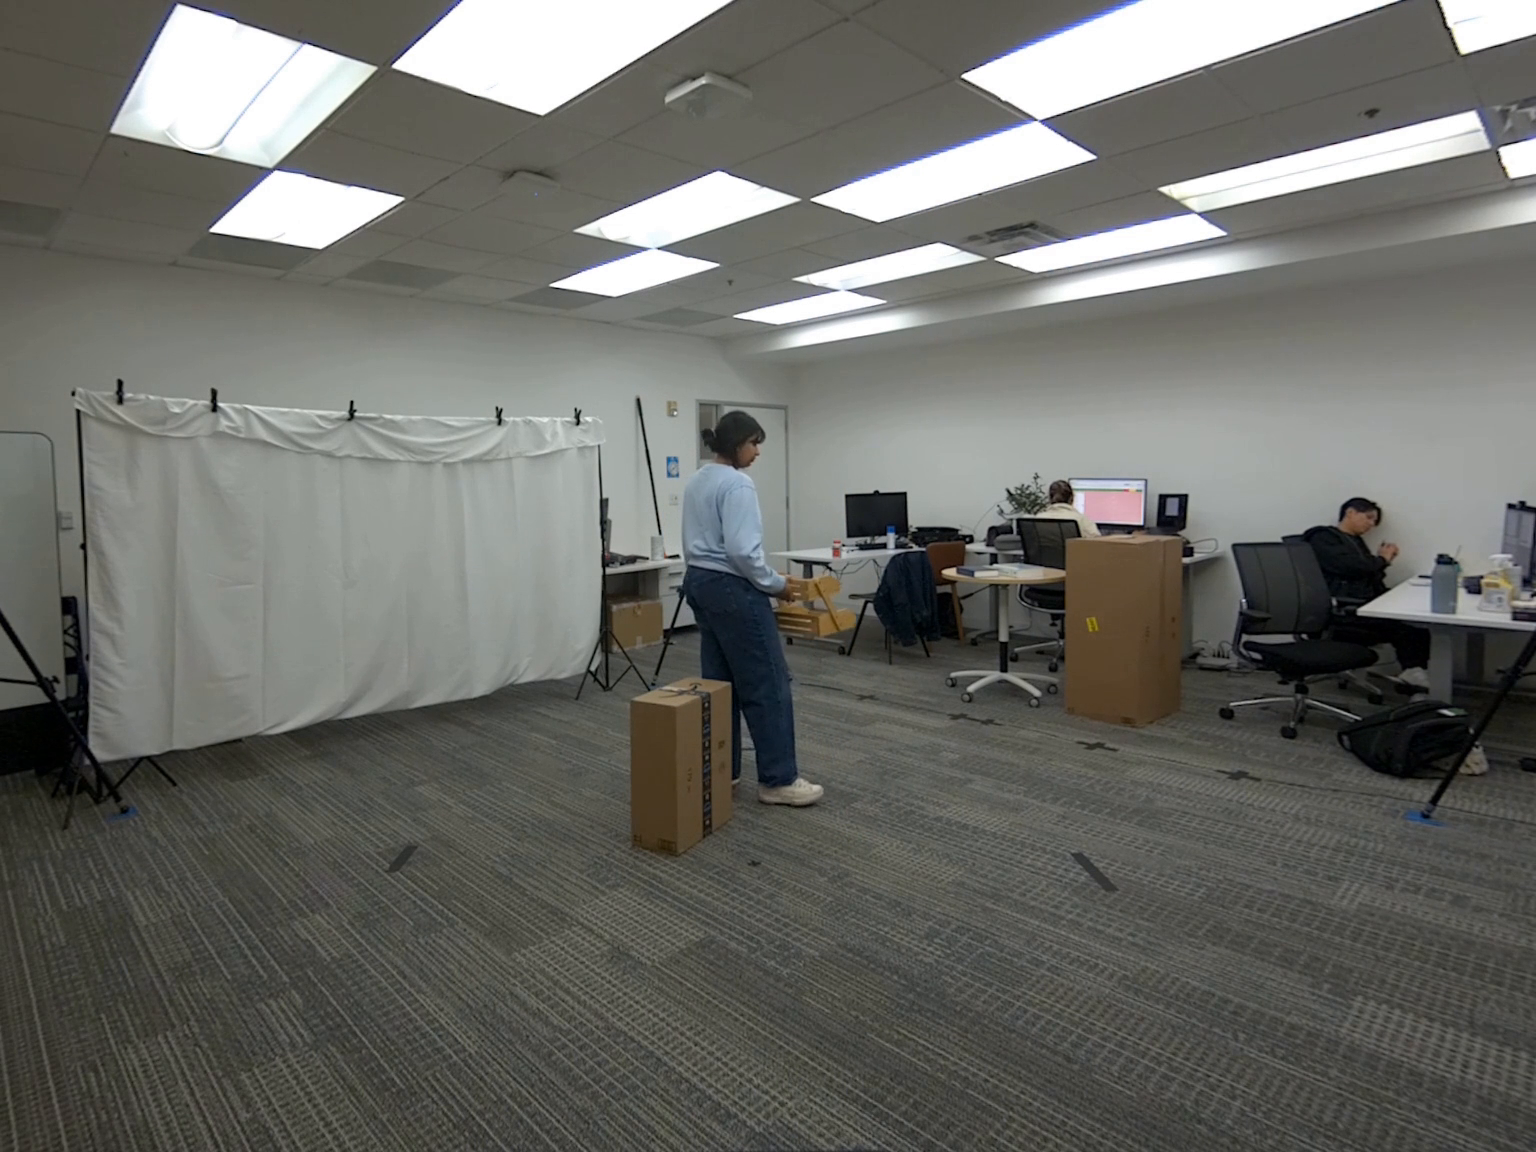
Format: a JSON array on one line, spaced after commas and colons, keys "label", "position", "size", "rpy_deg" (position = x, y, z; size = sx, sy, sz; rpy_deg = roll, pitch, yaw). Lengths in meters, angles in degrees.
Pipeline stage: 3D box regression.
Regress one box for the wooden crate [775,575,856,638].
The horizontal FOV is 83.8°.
[{"label": "wooden crate", "position": [0.183, 0.111, 3.875], "size": [0.295, 0.271, 0.334], "rpy_deg": [-12, 10, -42]}]
